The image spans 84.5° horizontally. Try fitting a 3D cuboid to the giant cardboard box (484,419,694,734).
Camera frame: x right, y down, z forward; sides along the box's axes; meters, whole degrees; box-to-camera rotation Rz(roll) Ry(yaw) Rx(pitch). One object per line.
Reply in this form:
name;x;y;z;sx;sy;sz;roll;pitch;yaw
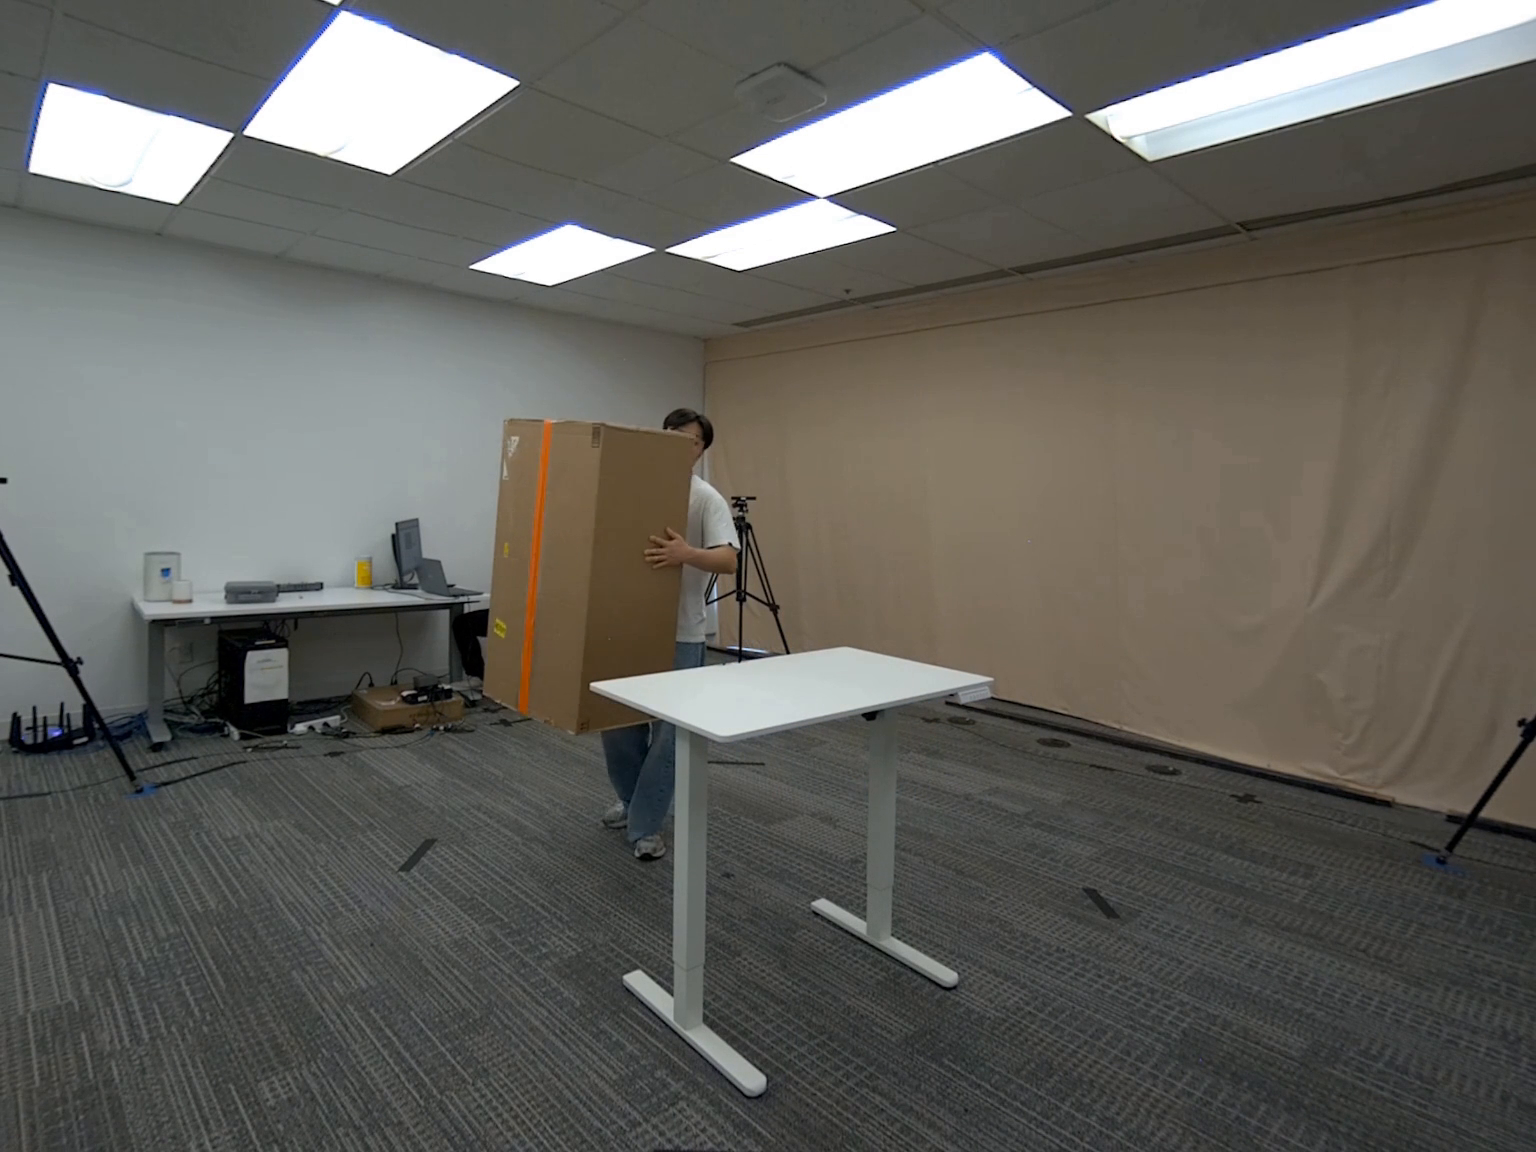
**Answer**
giant cardboard box;-0.657;-0.021;3.033;0.593;1.023;0.416;10;6;41
